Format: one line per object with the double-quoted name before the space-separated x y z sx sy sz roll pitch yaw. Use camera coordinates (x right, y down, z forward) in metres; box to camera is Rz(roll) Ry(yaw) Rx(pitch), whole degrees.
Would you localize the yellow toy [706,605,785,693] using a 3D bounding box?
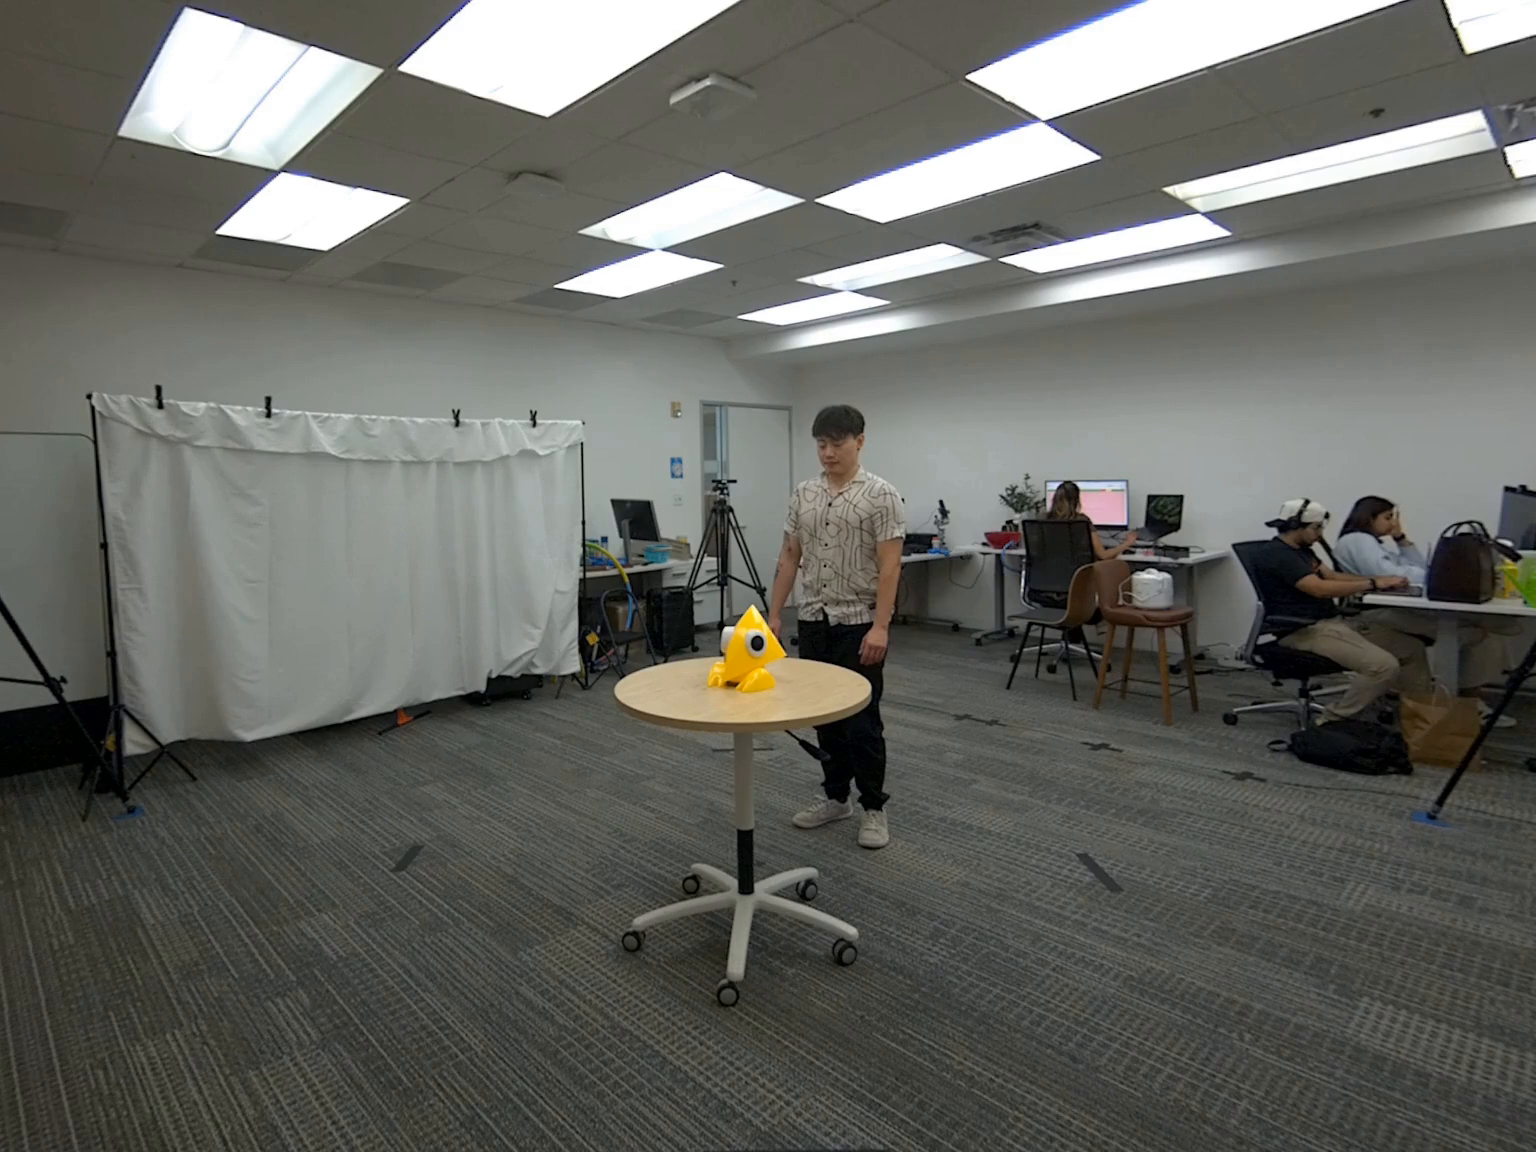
"yellow toy" -0.072 0.214 2.576 0.211 0.229 0.189 4 8 33
